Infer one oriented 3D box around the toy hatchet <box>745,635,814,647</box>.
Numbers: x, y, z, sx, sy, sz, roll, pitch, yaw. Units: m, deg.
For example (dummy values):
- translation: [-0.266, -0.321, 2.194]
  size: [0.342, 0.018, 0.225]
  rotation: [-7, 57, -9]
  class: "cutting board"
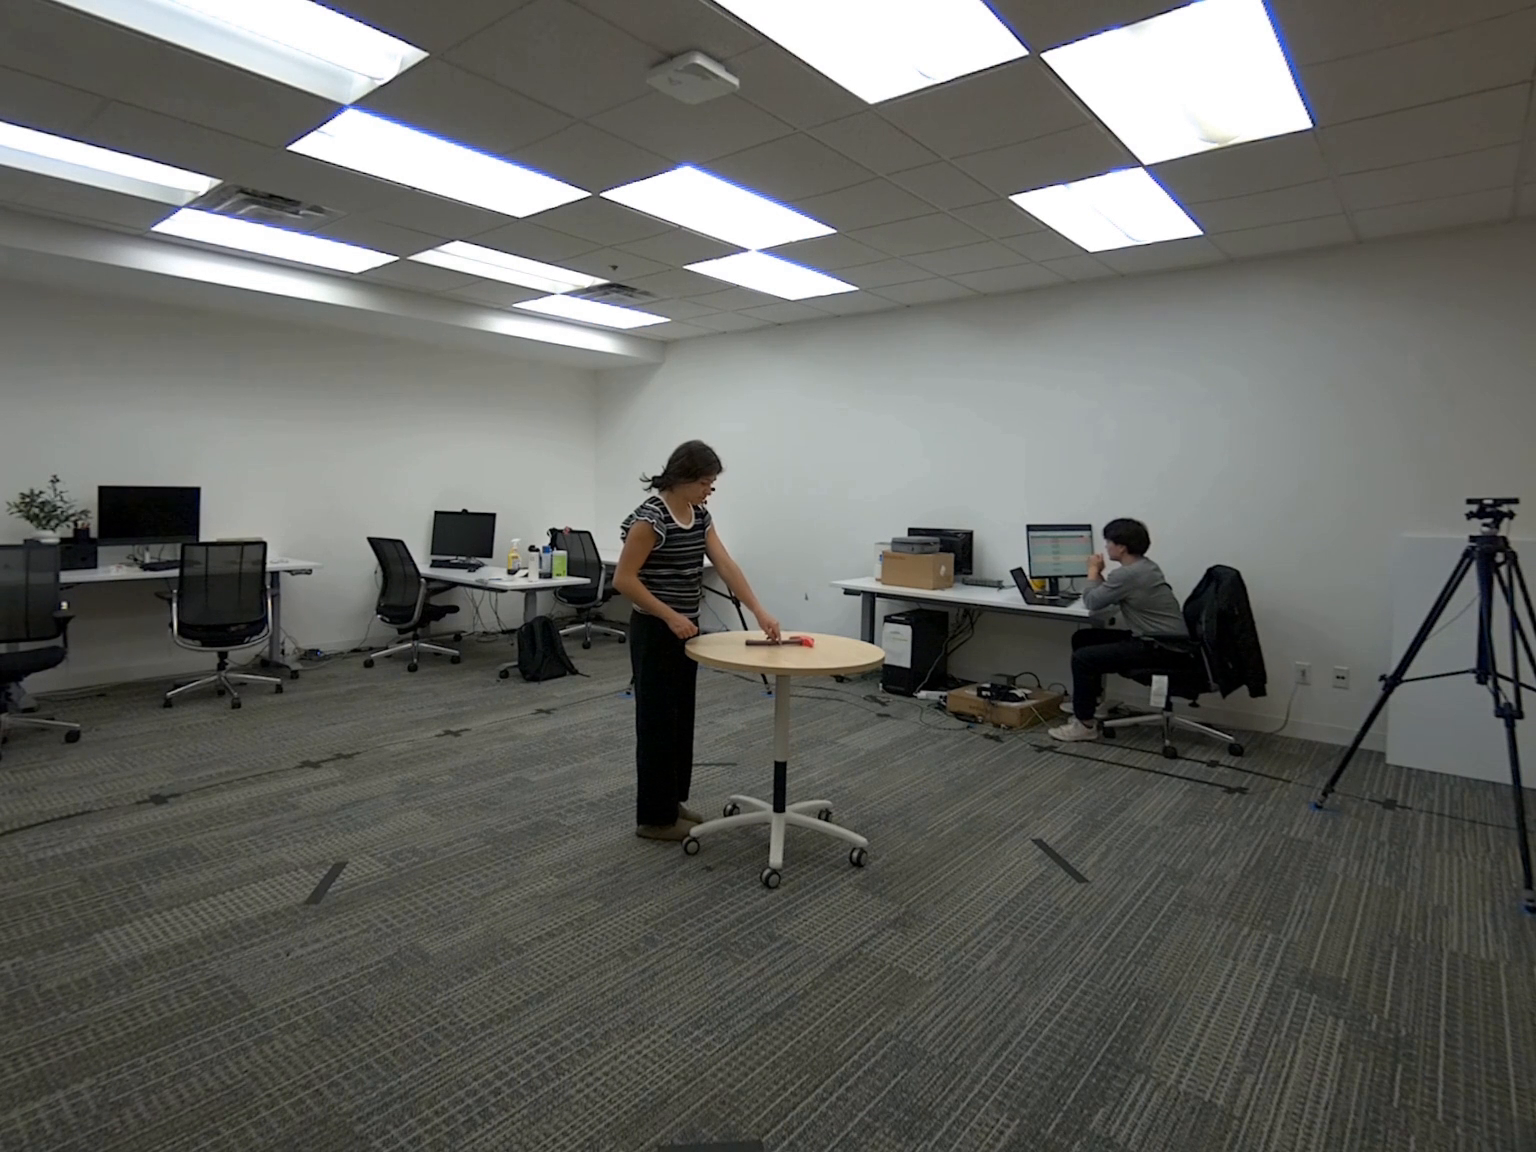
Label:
- translation: [0.036, 0.249, 3.349]
  size: [0.271, 0.029, 0.132]
  rotation: [2, 14, 2]
  class: "toy hatchet"
